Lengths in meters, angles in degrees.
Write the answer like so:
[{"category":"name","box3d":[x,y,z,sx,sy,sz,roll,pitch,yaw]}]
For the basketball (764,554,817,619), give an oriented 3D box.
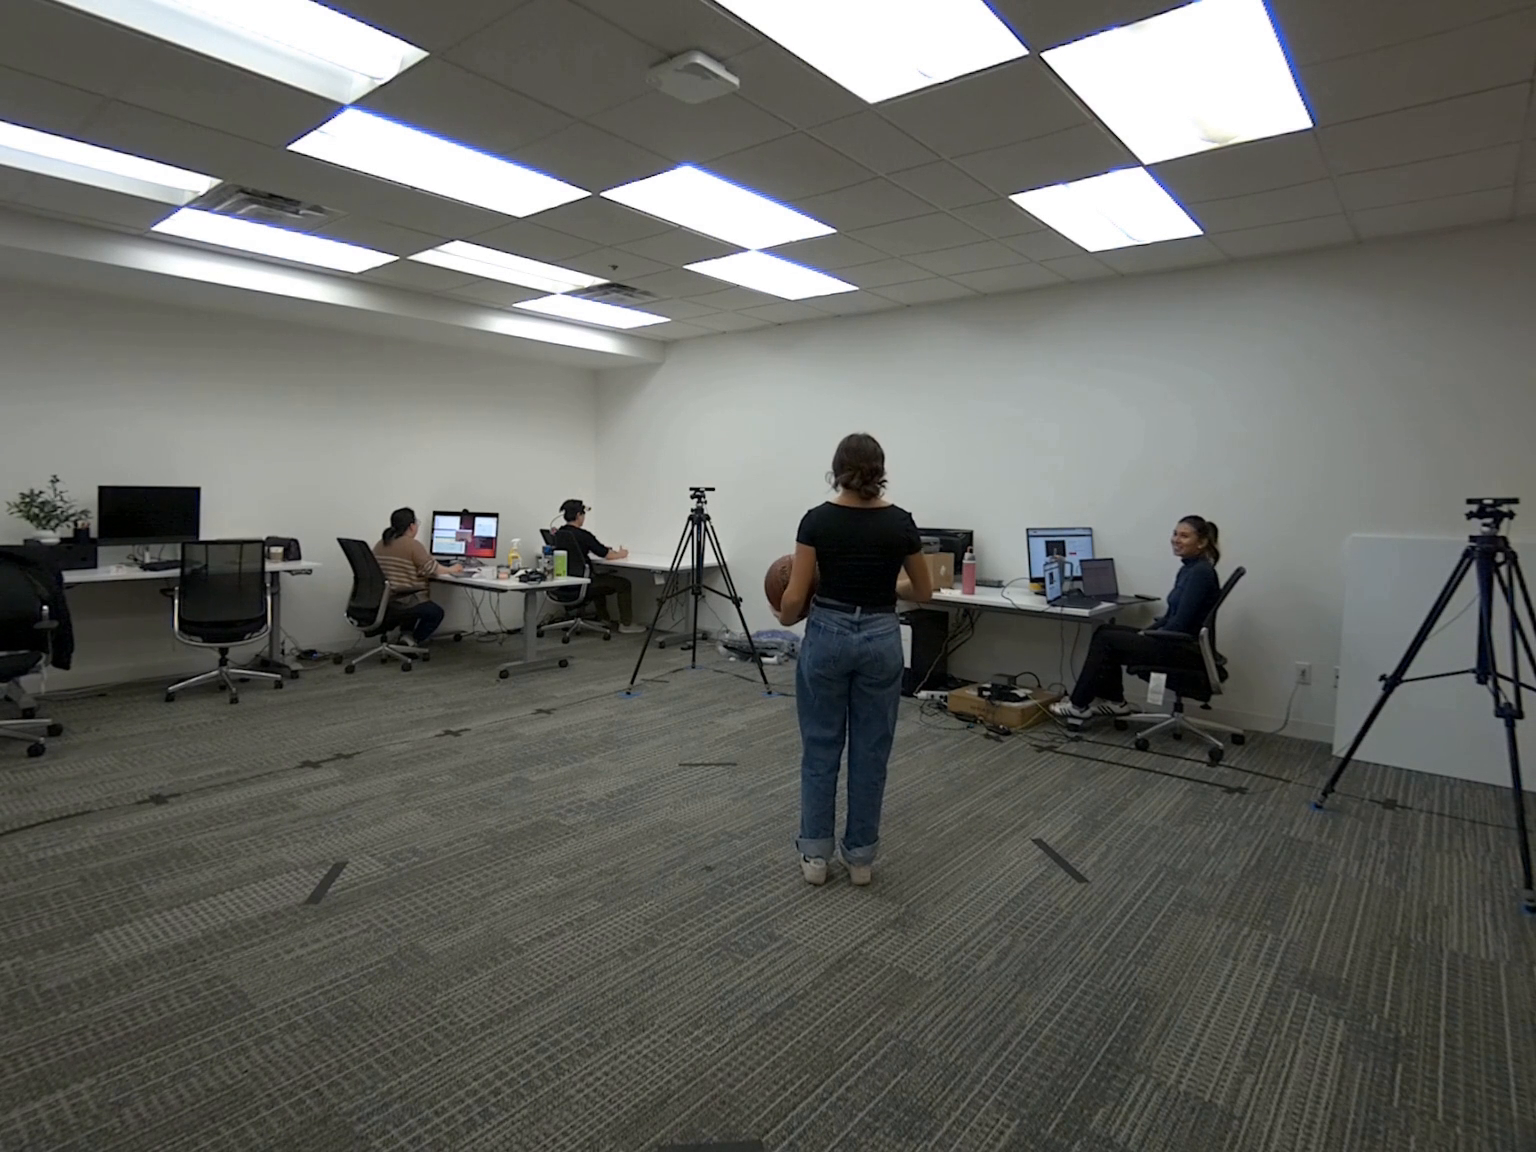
[{"category":"basketball","box3d":[0.104,0.032,3.268,0.235,0.235,0.237,1,4,-2]}]
